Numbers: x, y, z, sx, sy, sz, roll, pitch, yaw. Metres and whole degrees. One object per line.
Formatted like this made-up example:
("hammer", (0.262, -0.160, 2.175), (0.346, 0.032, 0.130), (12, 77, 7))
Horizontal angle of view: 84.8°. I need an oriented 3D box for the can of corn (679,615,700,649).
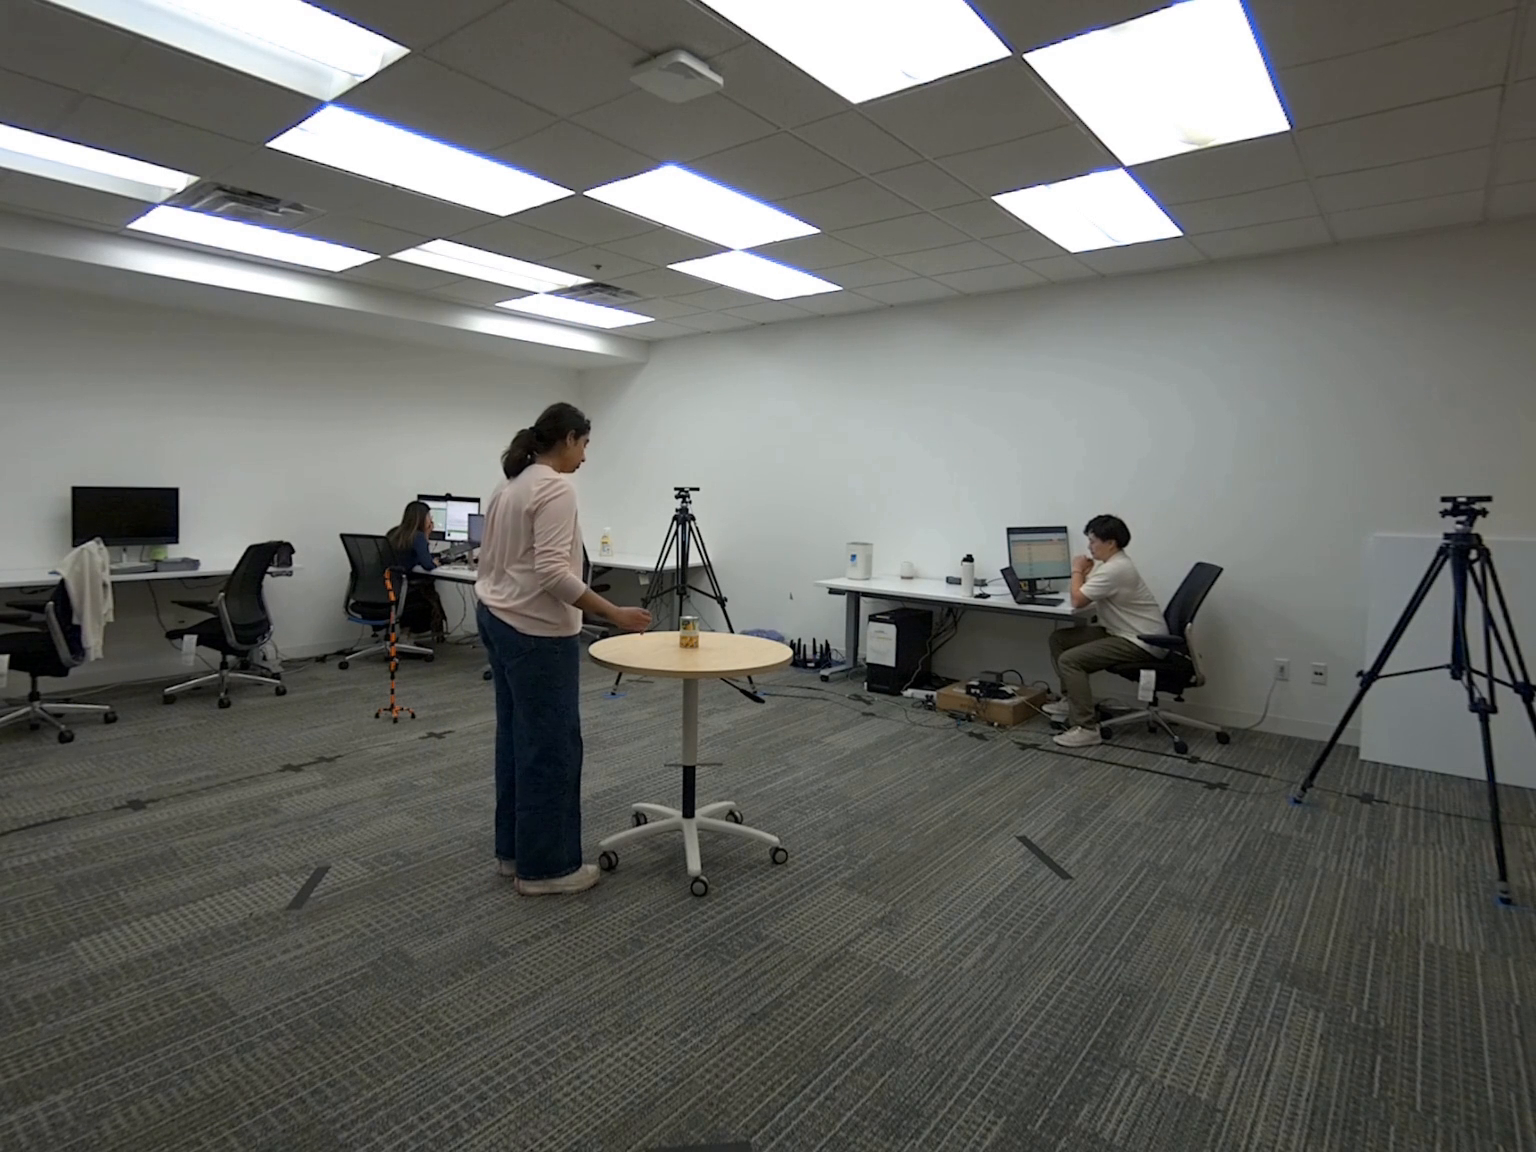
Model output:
("can of corn", (-0.315, 0.212, 3.238), (0.074, 0.110, 0.074), (1, 5, -2))
